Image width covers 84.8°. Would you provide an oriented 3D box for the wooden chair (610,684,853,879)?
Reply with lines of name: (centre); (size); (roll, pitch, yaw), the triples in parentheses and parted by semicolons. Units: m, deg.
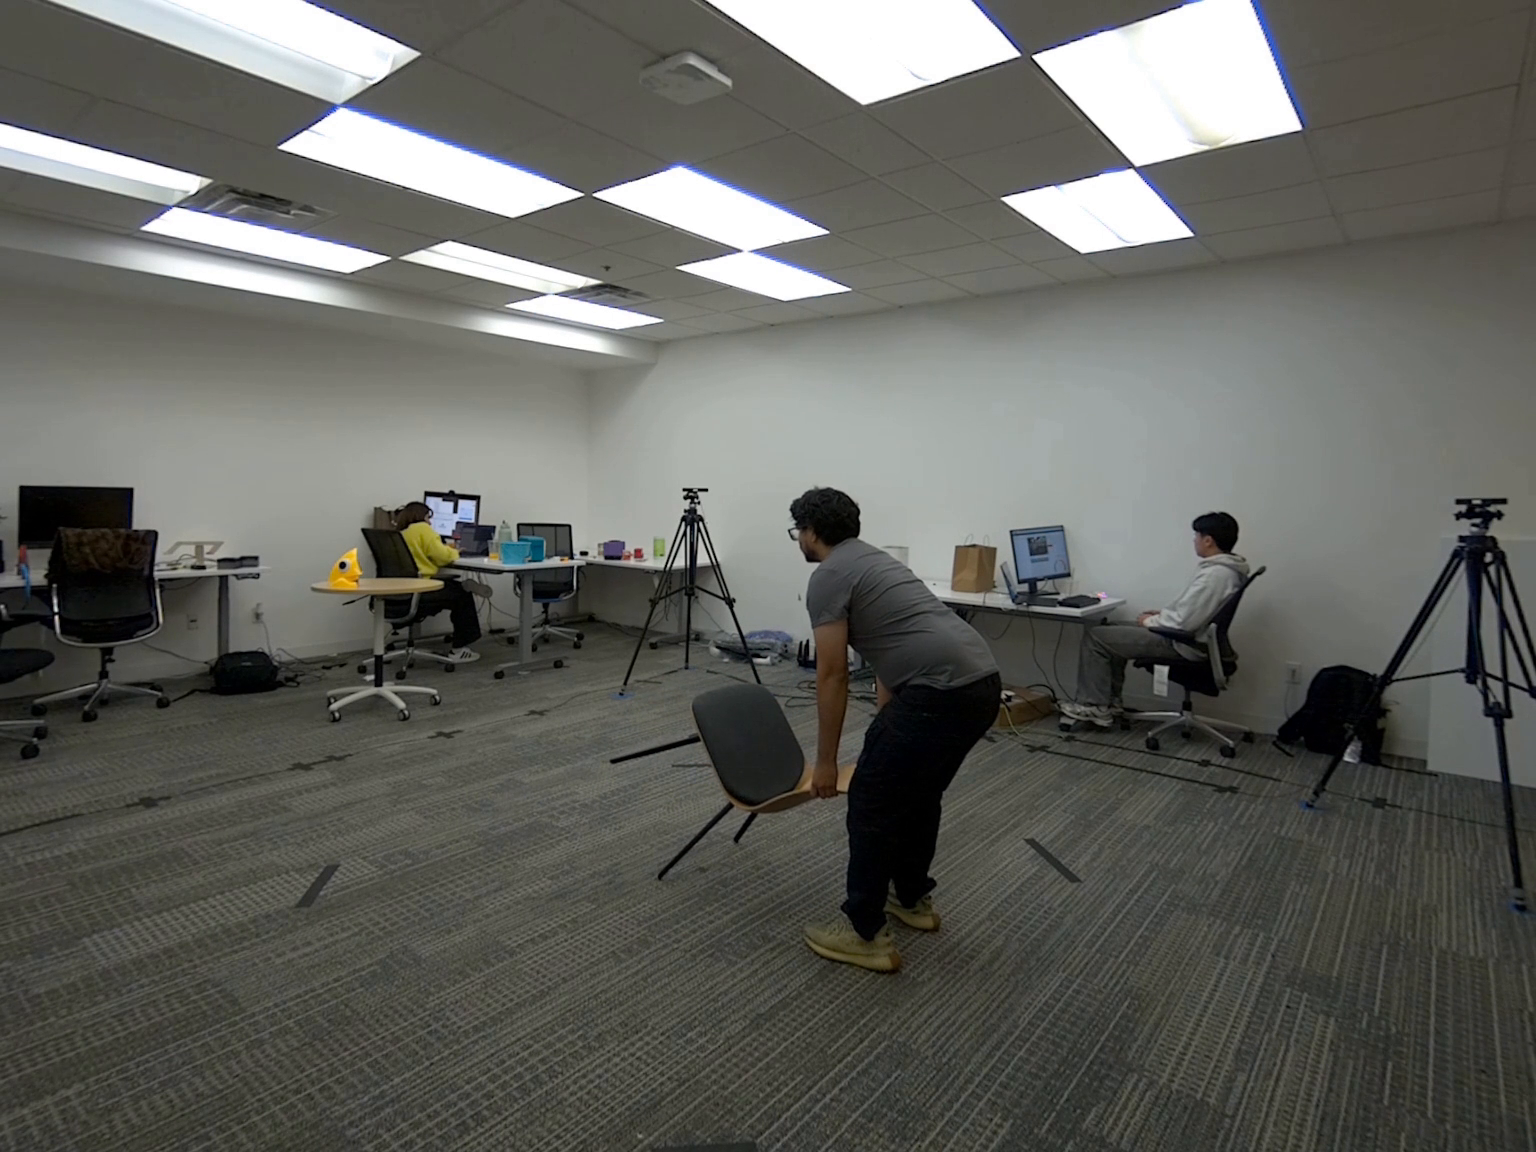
wooden chair: (-0.082, 0.643, 3.034); (0.886, 0.534, 0.464); (-33, -18, 34)
